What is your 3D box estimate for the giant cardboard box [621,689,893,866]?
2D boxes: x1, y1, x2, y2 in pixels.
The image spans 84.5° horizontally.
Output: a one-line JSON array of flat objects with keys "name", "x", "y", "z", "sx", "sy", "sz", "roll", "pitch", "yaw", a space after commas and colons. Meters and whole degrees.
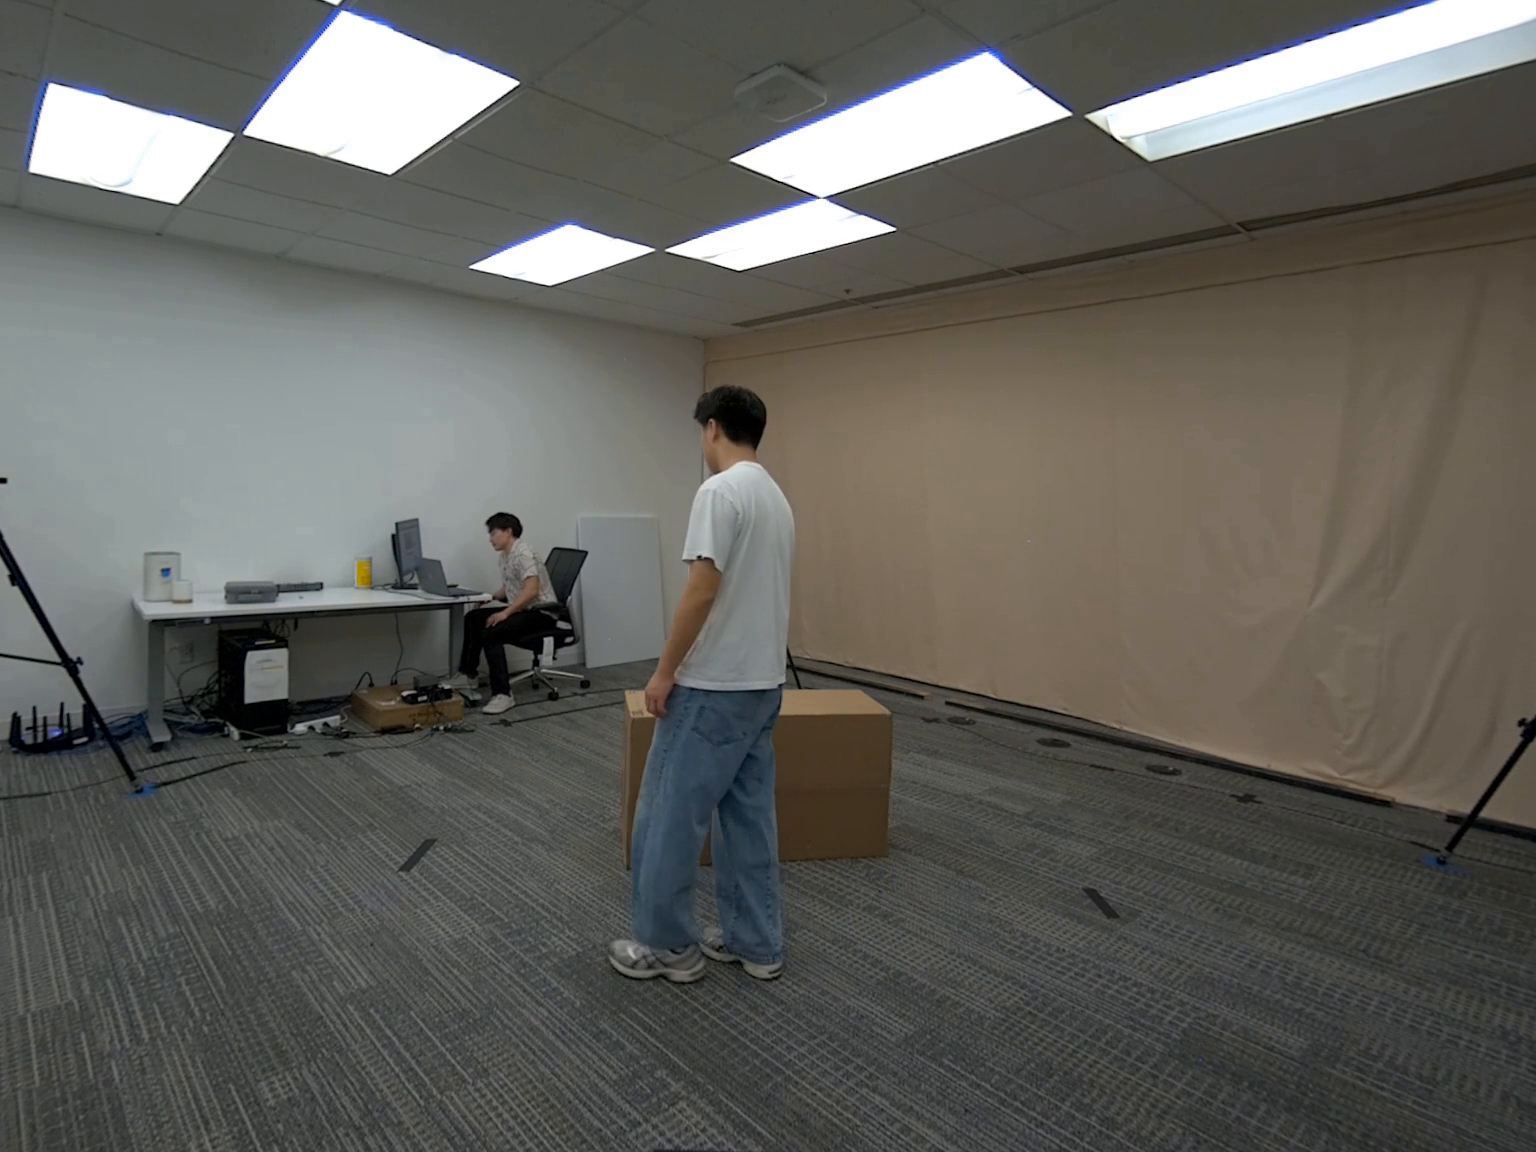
[{"name": "giant cardboard box", "x": -0.070, "y": 0.792, "z": 3.409, "sx": 1.017, "sy": 0.576, "sz": 0.431, "roll": 1, "pitch": 4, "yaw": -10}]
